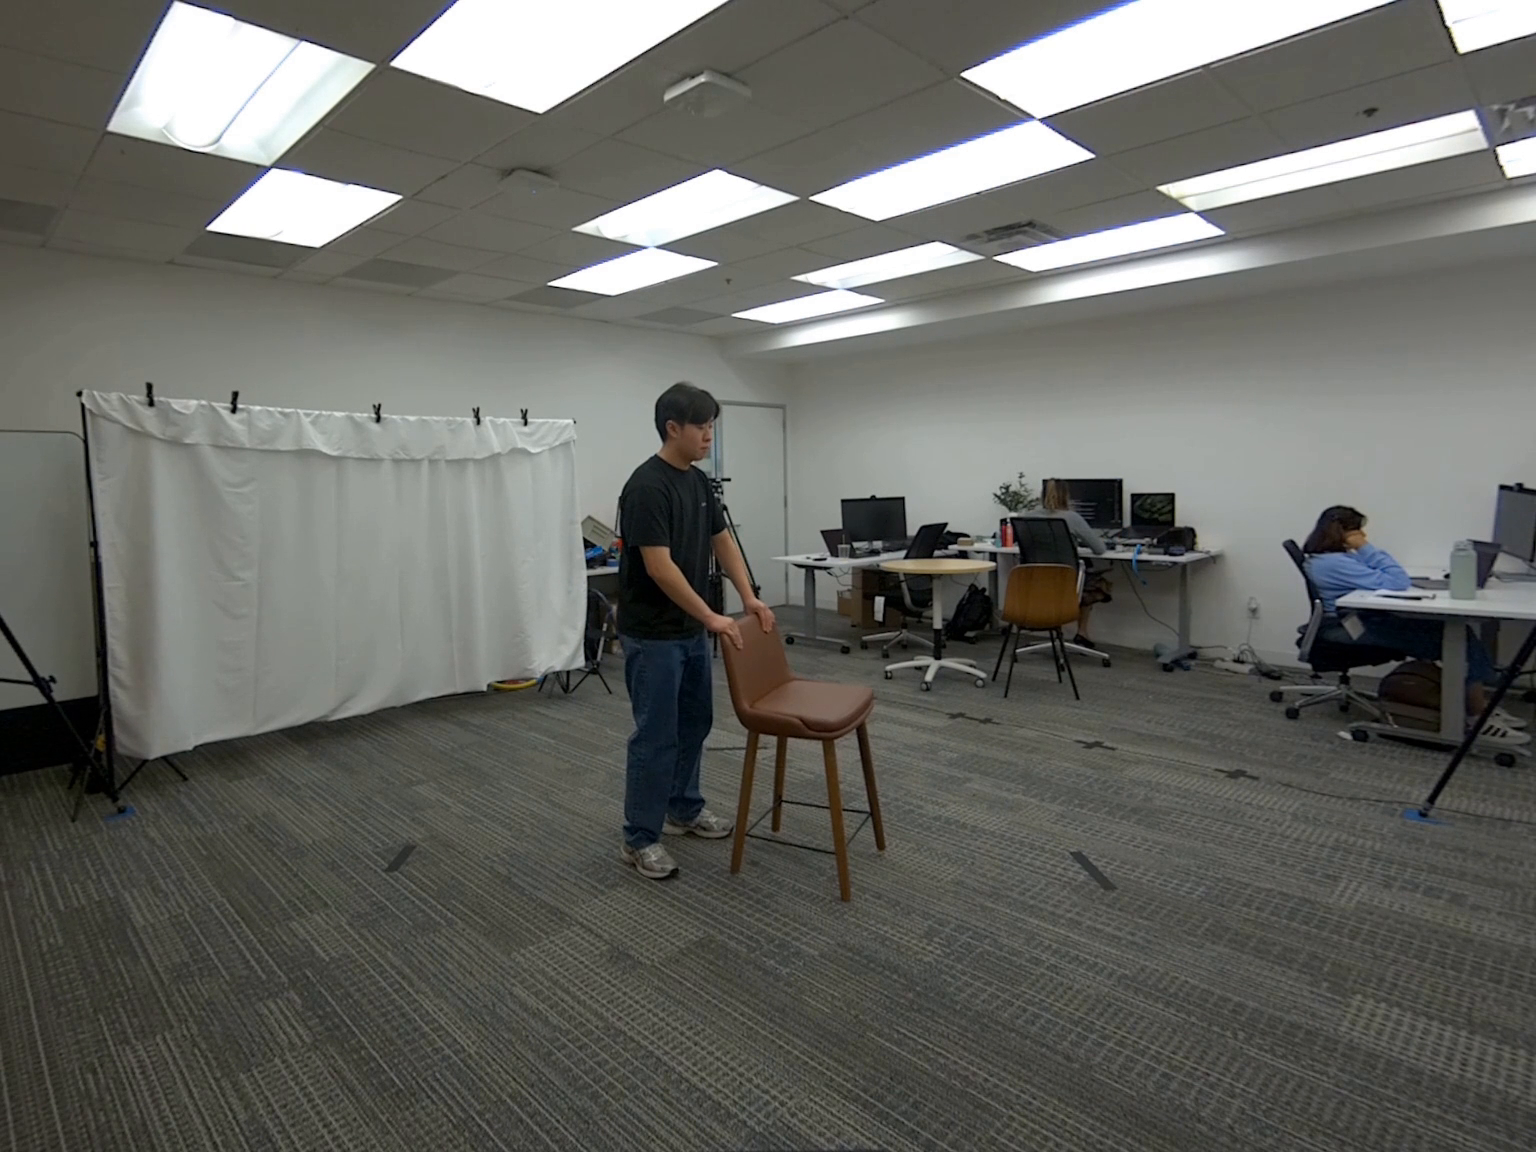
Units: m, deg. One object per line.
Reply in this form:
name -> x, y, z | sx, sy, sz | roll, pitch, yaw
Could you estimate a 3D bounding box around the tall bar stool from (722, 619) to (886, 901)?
tall bar stool -> 0.127, 0.596, 3.045 | 0.479, 0.885, 0.448 | -1, 6, 28
